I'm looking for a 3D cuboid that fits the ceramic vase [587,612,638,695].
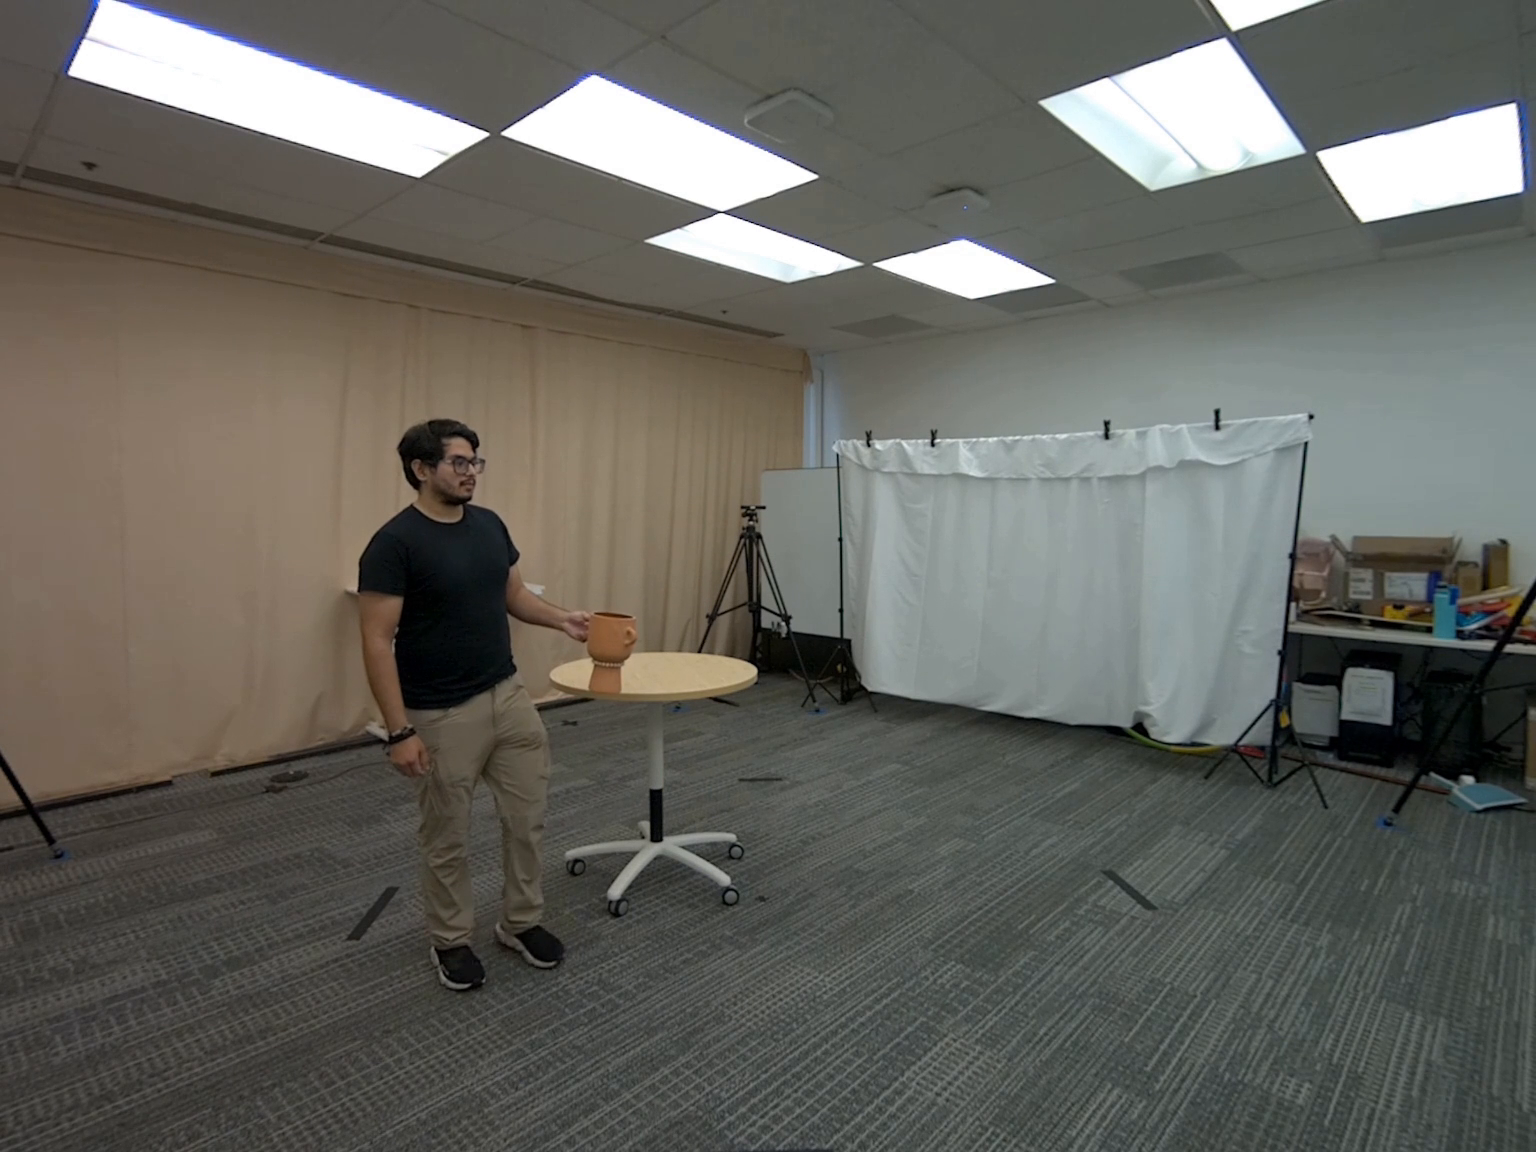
[{"bbox_3d":[-0.465,0.227,2.421,0.132,0.219,0.161,5,3,-14],"label":"ceramic vase"}]
